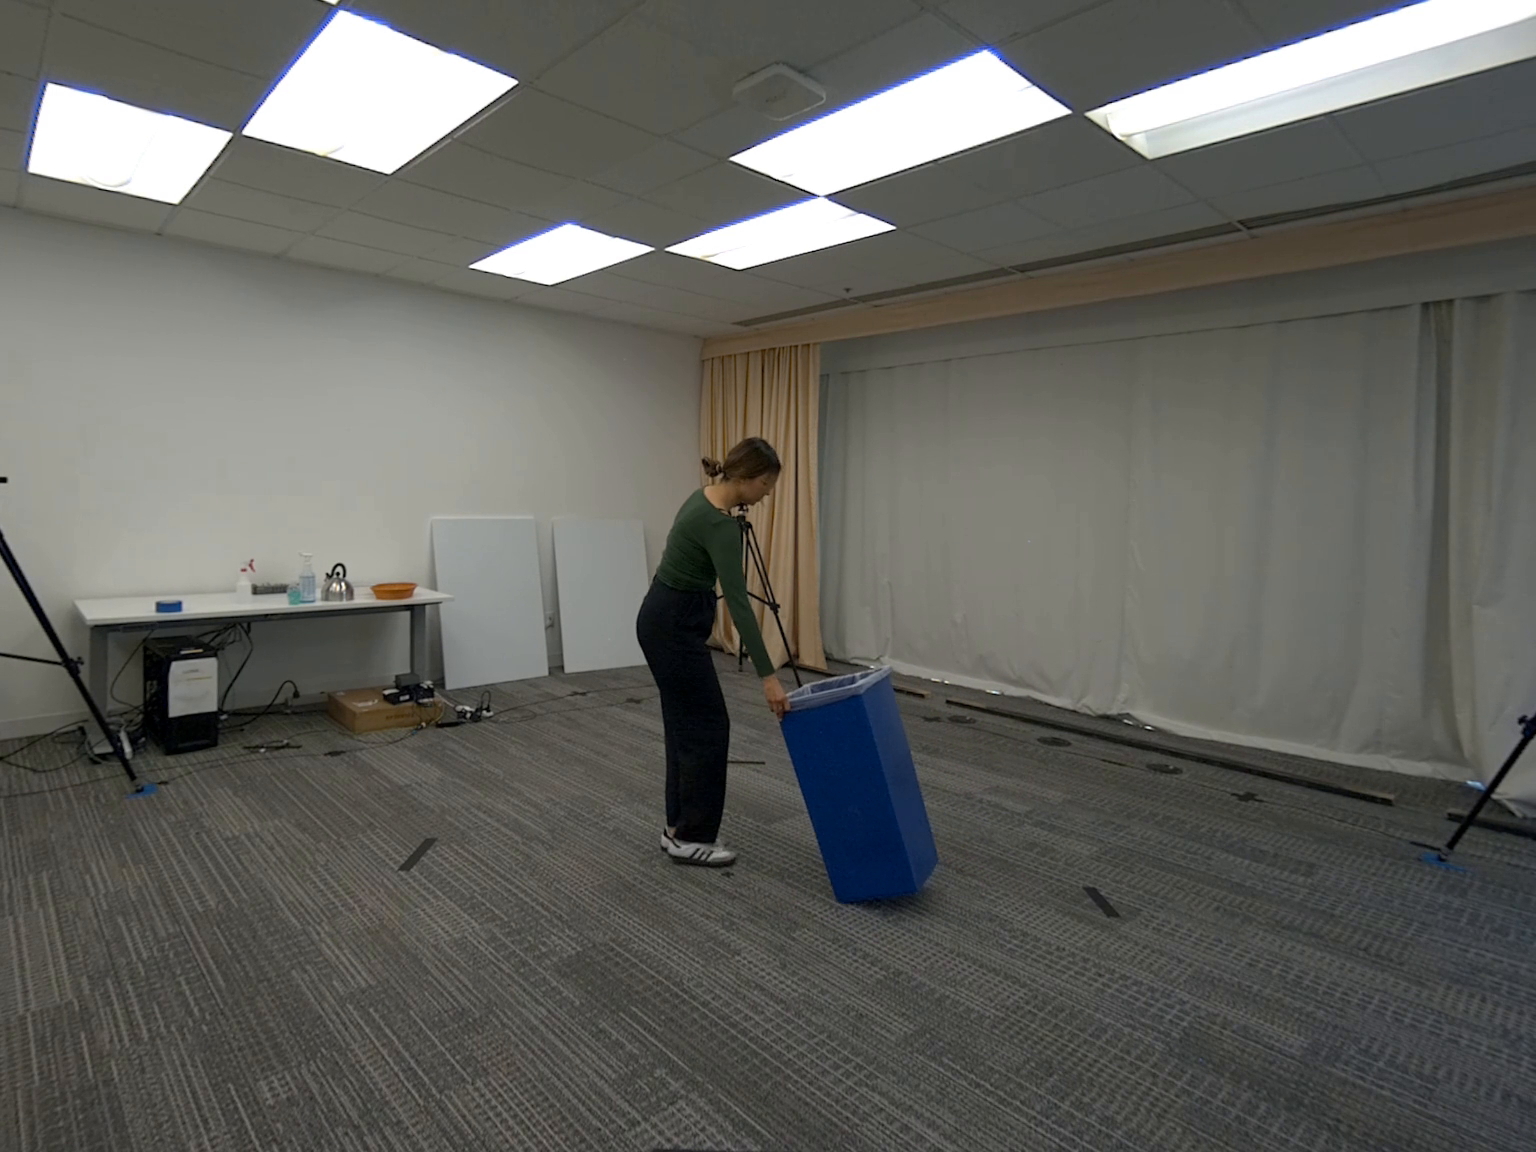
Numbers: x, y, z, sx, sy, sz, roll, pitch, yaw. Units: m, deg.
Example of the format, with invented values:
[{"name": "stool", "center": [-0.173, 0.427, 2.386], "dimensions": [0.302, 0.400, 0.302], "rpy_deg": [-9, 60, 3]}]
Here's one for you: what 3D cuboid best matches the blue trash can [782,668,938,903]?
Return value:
[{"name": "blue trash can", "center": [0.329, 0.732, 3.003], "dimensions": [0.378, 0.717, 0.371], "rpy_deg": [-19, -6, 25]}]
